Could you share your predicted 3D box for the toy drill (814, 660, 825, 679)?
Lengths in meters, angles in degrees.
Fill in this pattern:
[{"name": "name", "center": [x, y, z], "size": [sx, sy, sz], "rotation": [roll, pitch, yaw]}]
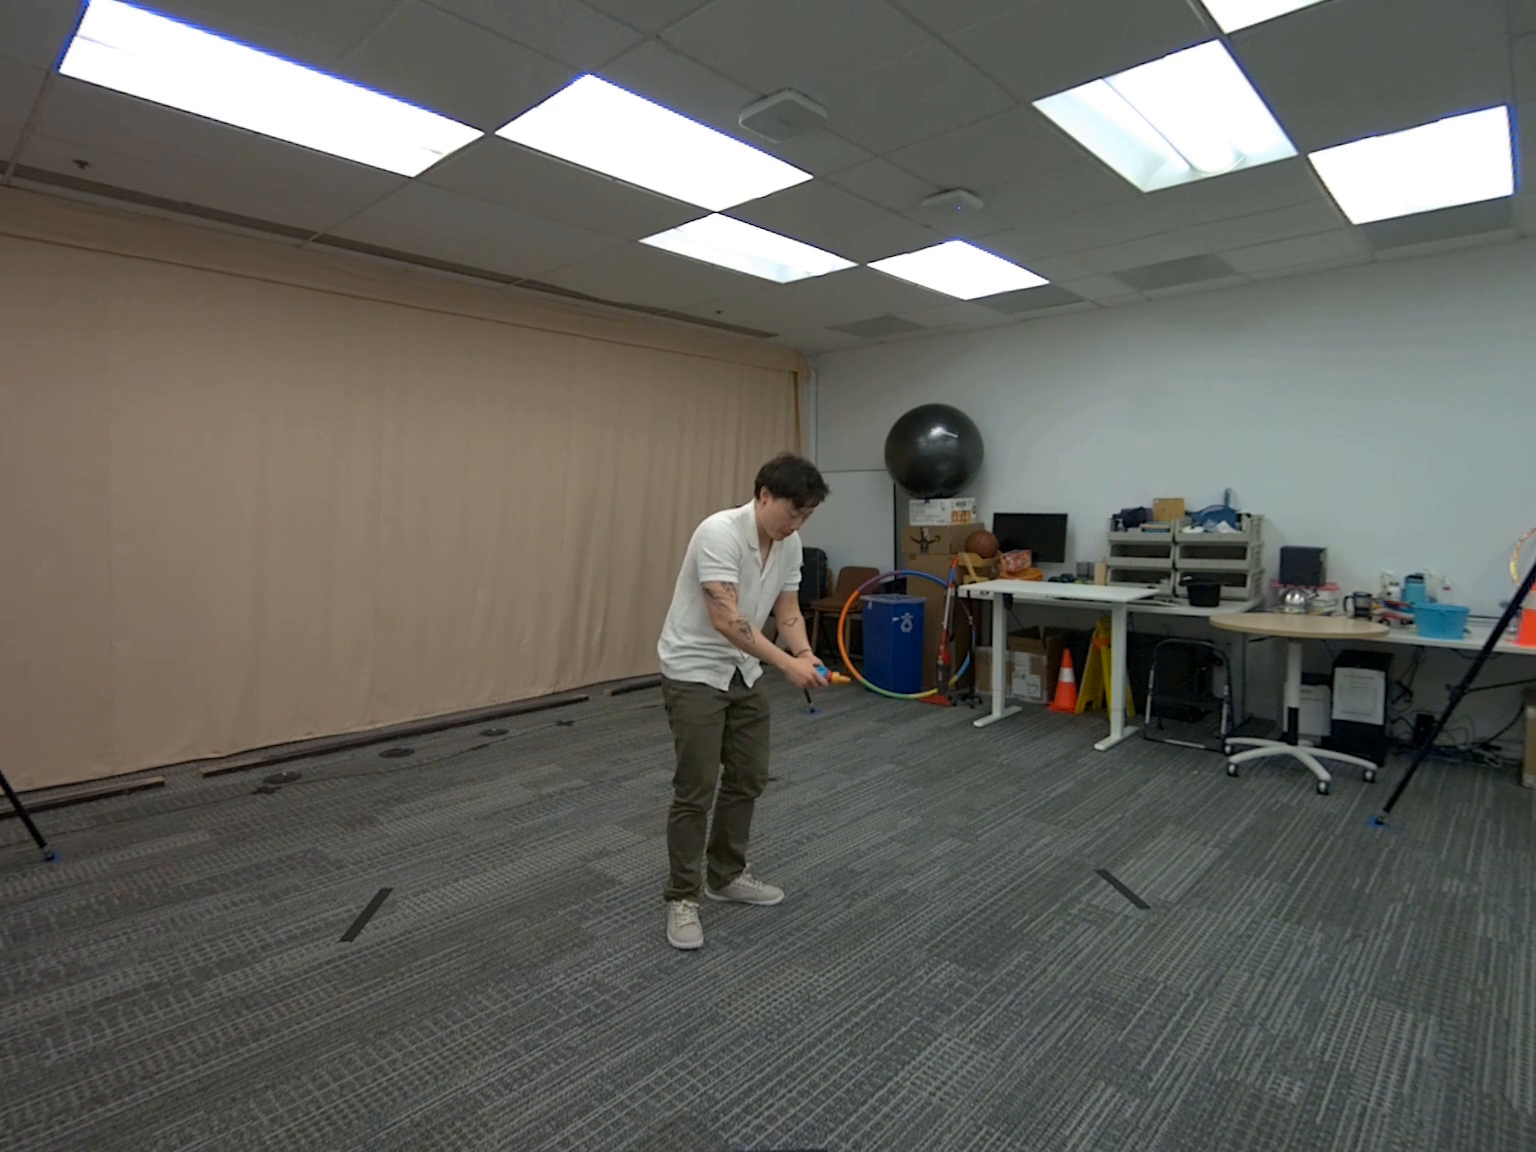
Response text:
[{"name": "toy drill", "center": [0.088, 0.283, 2.627], "size": [0.060, 0.170, 0.147], "rotation": [11, -3, -9]}]
